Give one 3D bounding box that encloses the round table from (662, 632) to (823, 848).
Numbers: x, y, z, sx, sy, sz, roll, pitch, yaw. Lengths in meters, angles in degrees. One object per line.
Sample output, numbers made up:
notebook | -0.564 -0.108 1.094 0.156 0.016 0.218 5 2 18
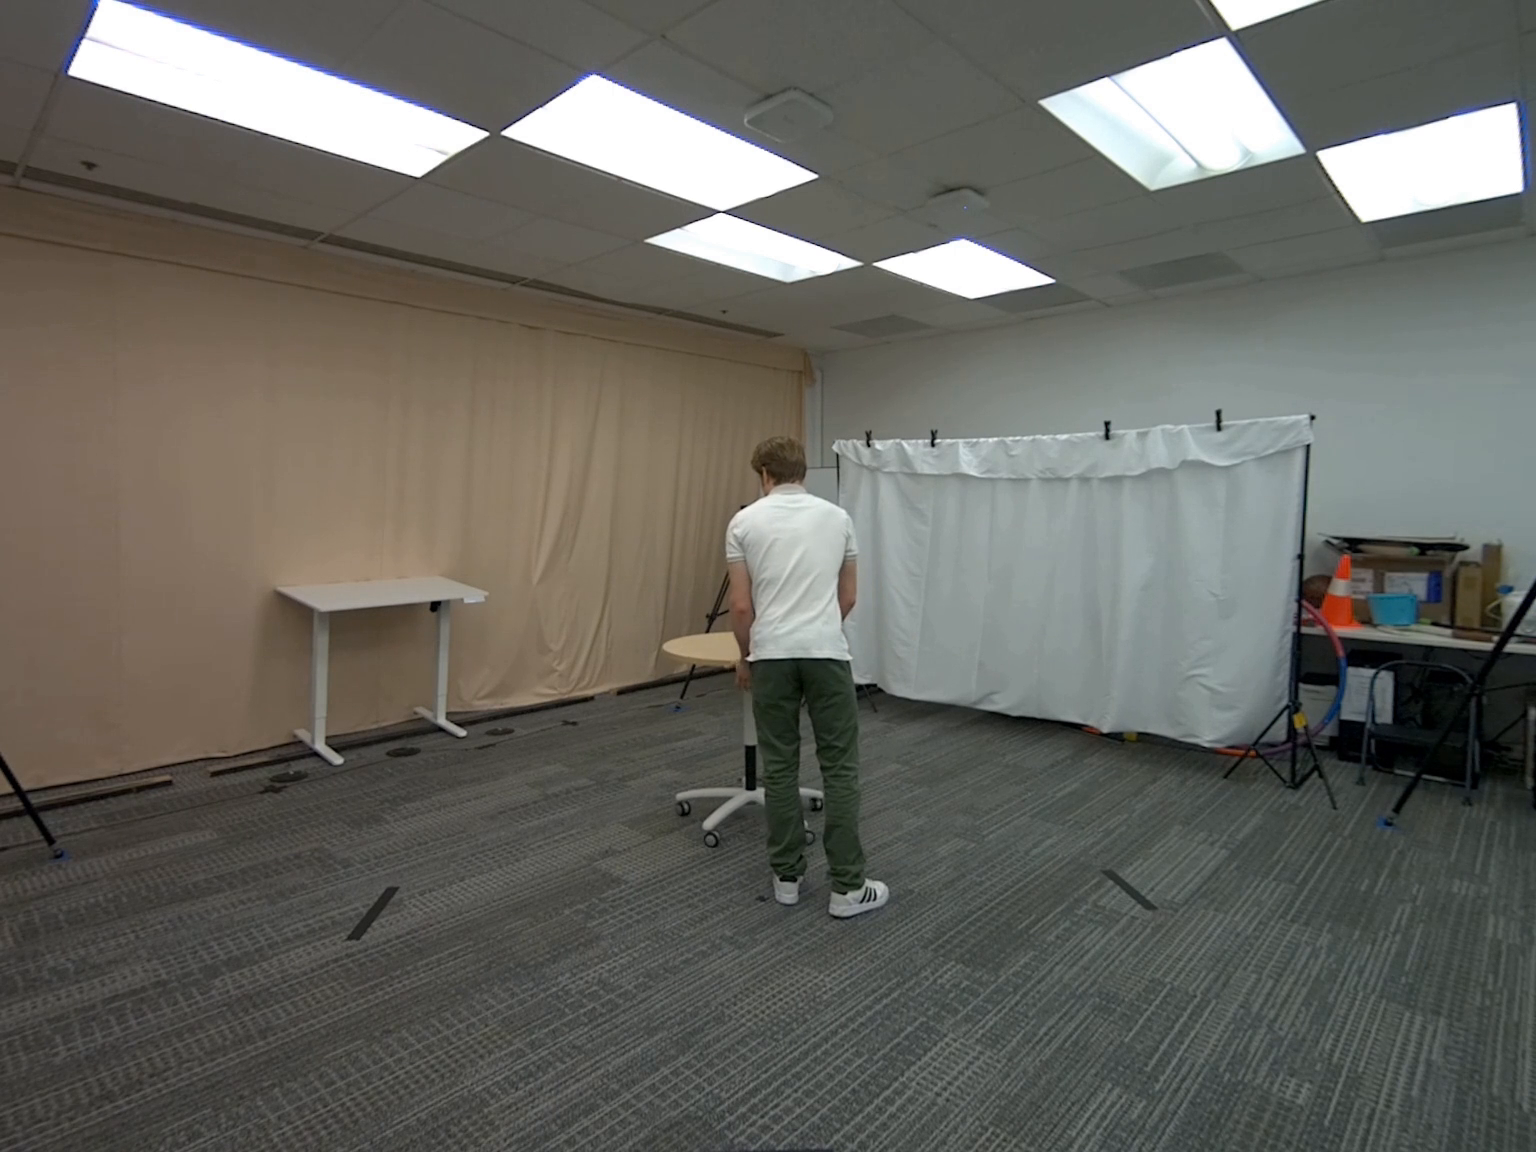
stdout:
round table | -0.072 0.692 3.700 0.763 0.792 0.766 -1 3 -2
